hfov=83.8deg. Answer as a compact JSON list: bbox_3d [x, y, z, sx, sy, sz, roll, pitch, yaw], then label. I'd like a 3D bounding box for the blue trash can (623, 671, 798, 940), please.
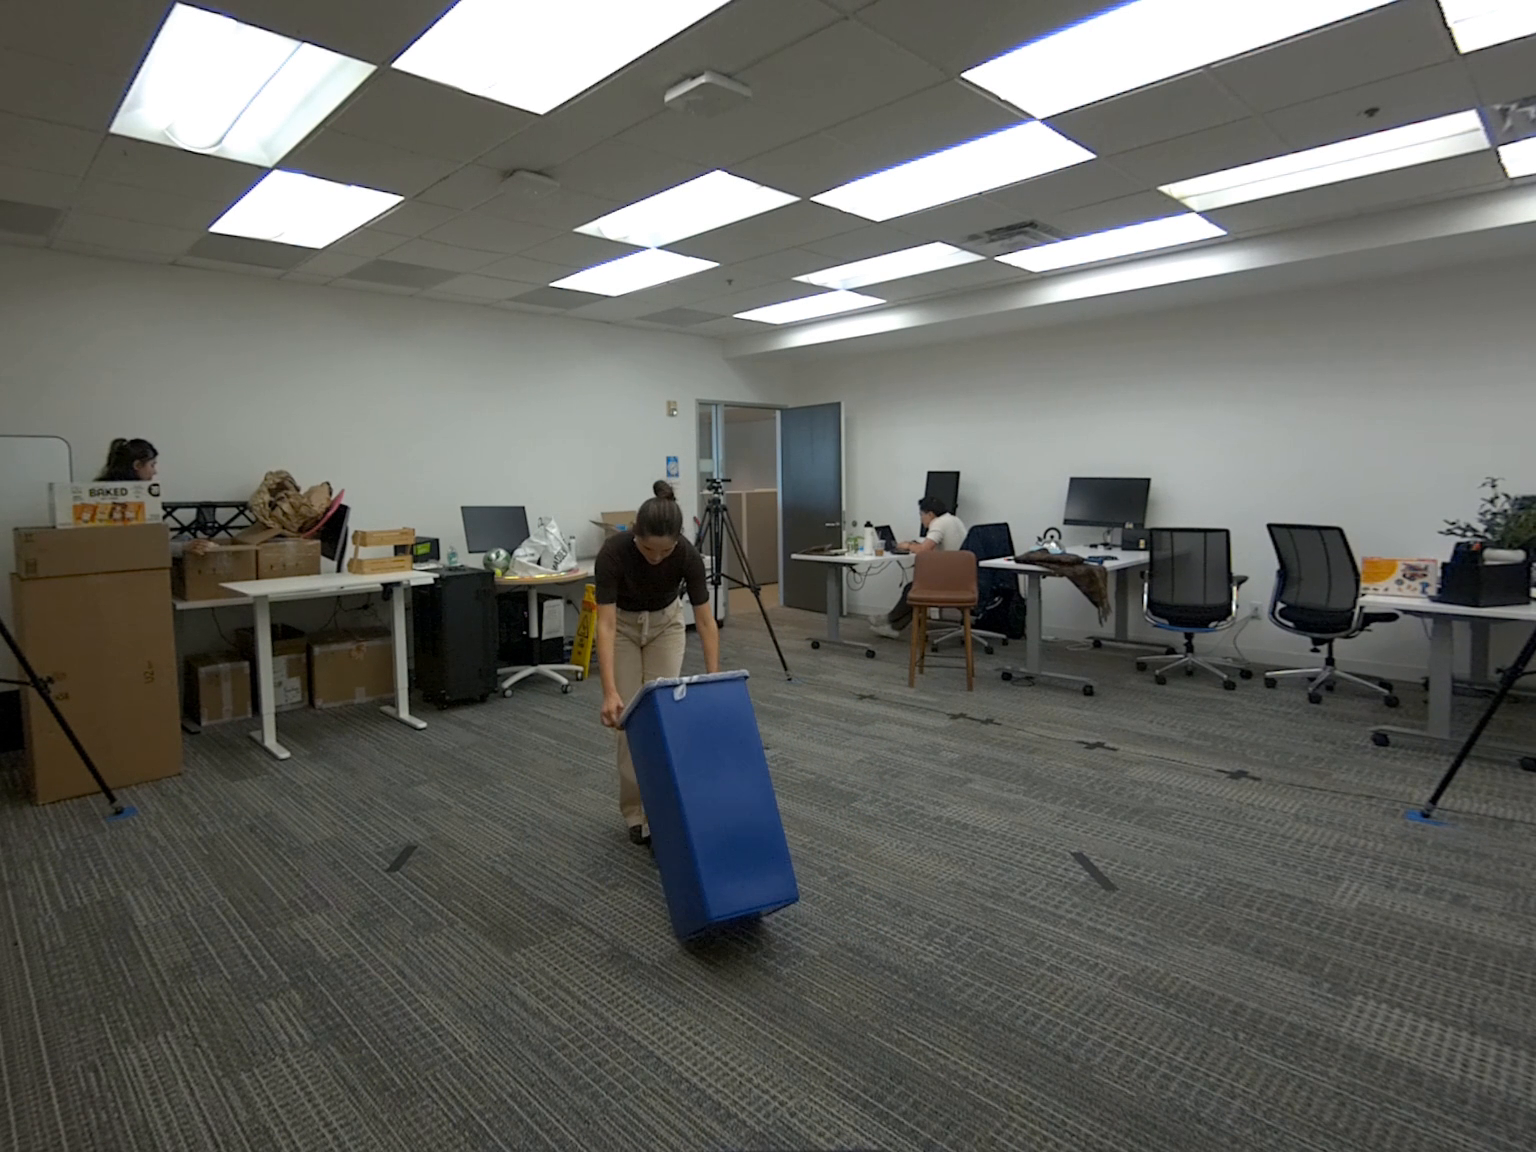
[{"bbox_3d":[-0.200,0.717,2.713,0.370,0.734,0.372,-1,-31,-26],"label":"blue trash can"}]
